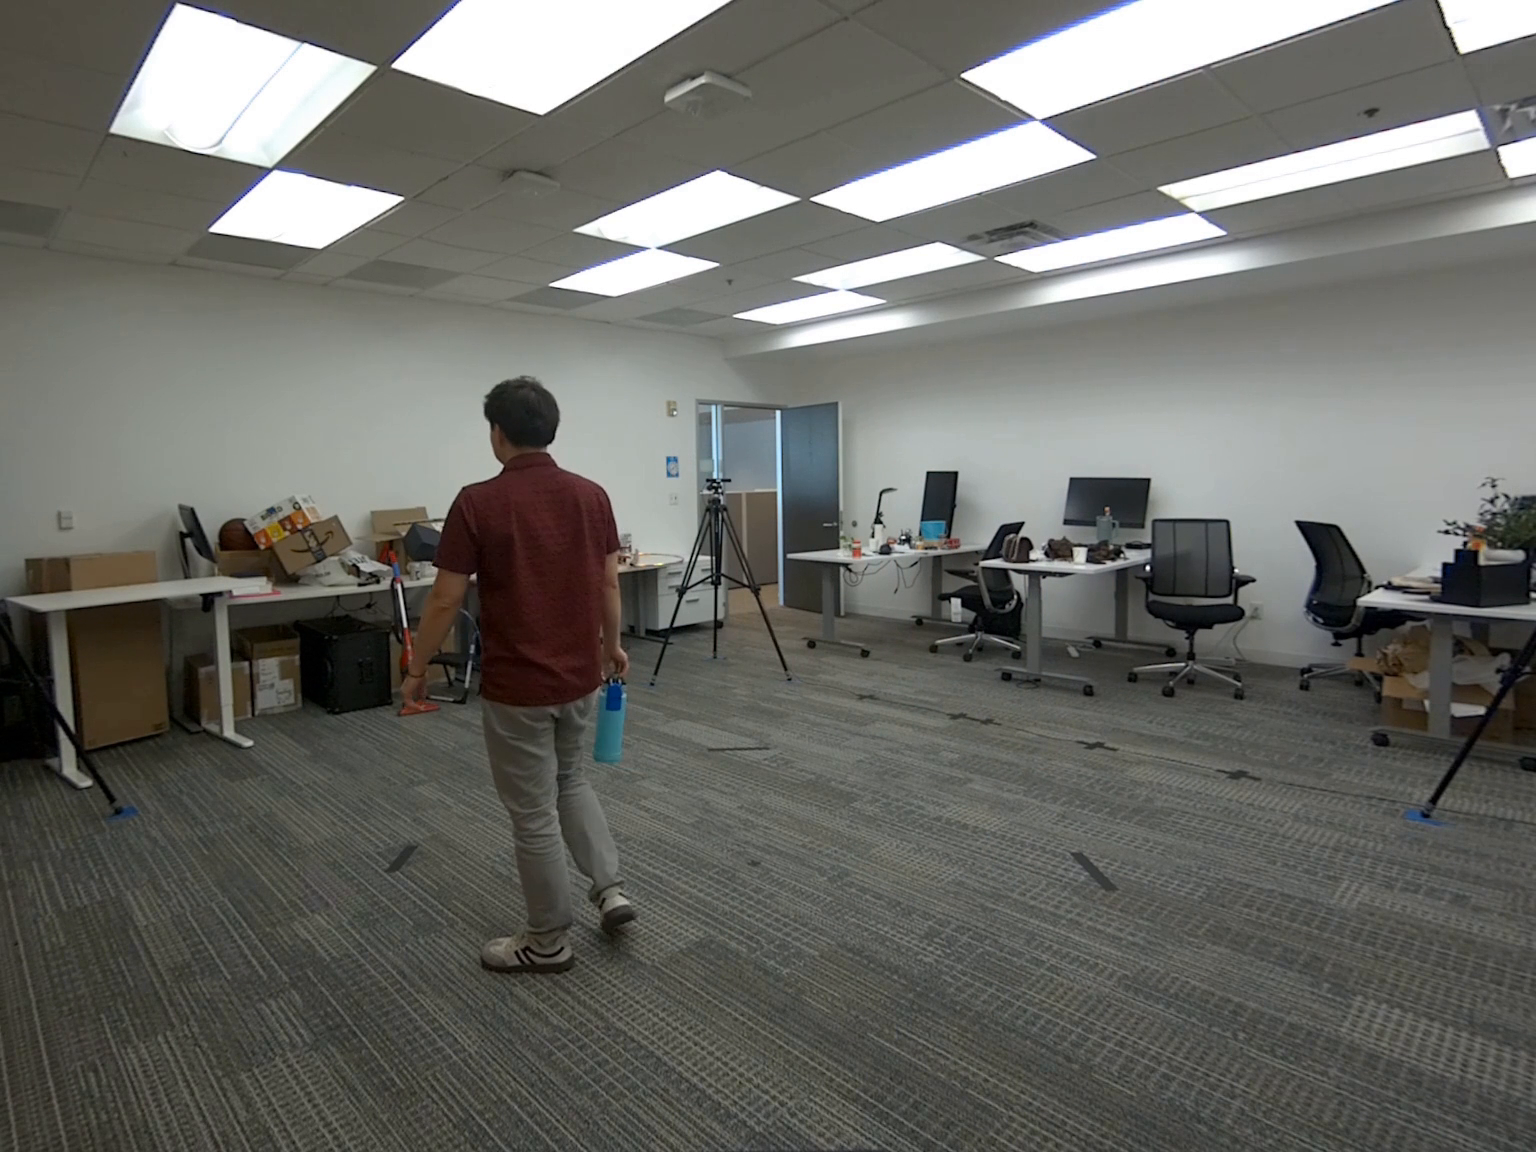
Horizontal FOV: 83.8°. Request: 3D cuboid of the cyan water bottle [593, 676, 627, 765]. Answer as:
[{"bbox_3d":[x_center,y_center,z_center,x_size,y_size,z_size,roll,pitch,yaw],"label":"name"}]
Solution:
[{"bbox_3d":[-0.508,0.463,2.778,0.092,0.283,0.093,6,3,-2],"label":"cyan water bottle"}]
